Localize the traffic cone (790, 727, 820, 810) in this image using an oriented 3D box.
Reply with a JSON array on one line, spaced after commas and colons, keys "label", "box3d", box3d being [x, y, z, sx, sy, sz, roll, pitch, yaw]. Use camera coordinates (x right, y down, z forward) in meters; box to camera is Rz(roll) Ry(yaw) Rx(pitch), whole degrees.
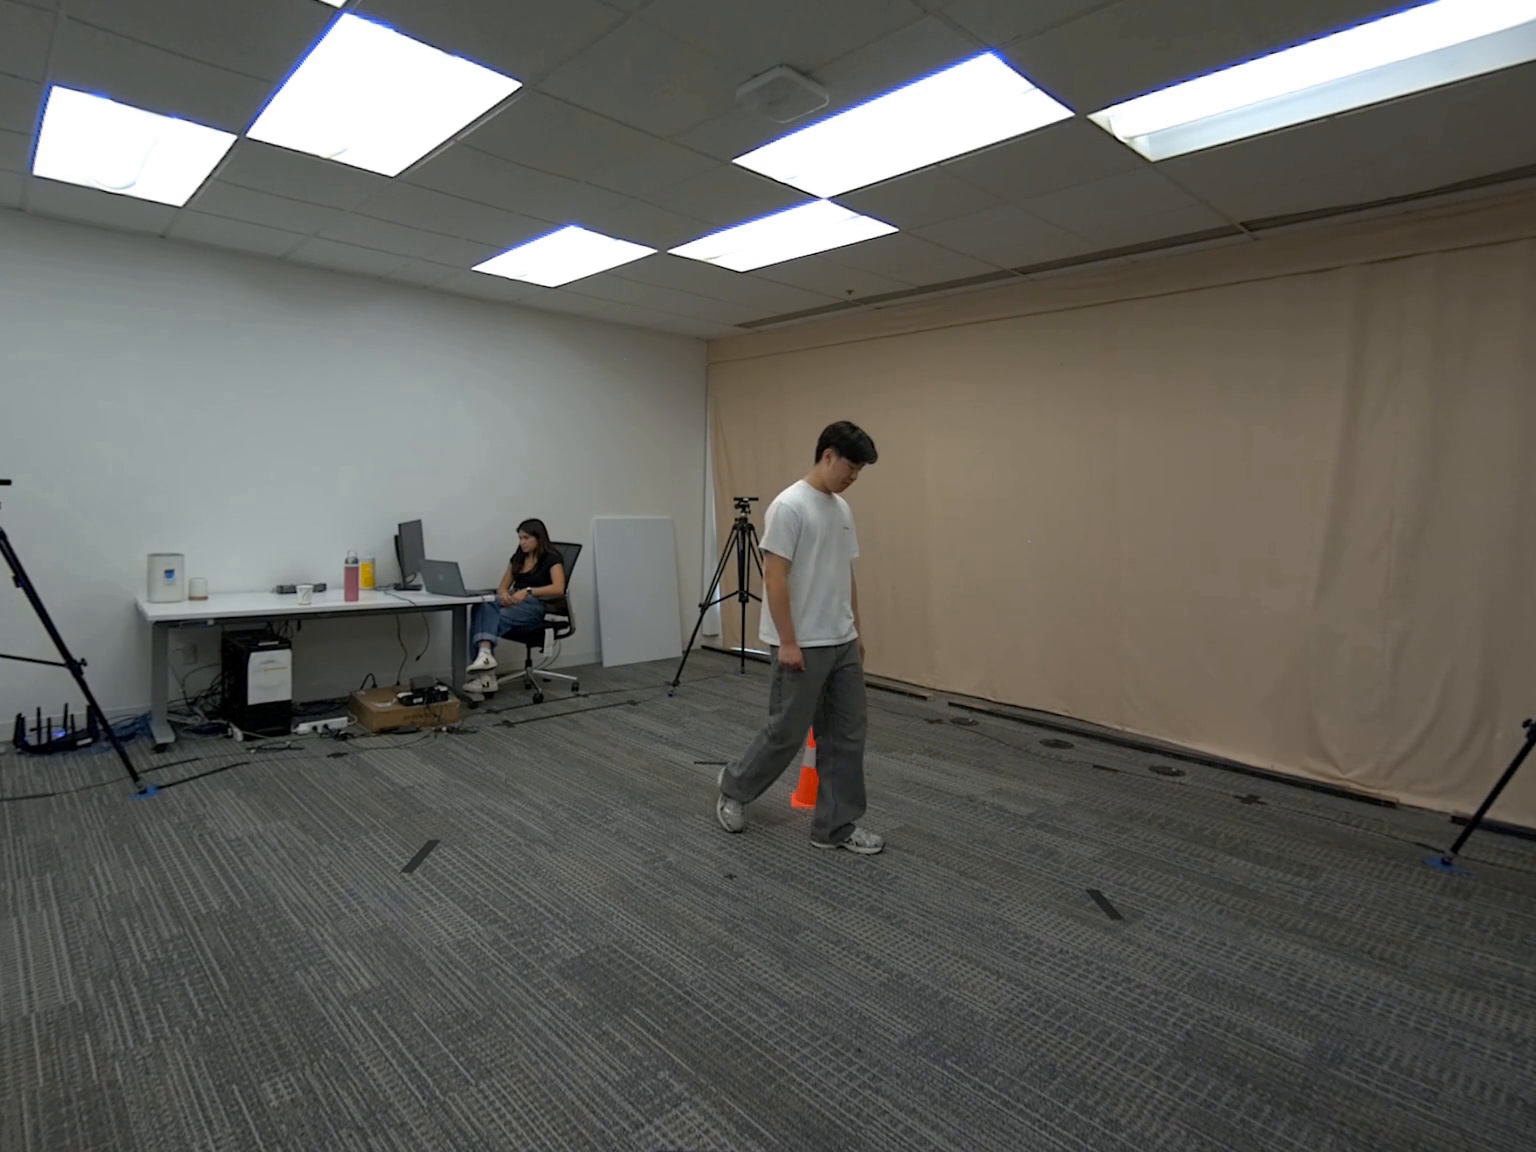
[{"label": "traffic cone", "box3d": [0.205, 0.865, 3.933, 0.203, 0.383, 0.205, 3, 3, -2]}]
